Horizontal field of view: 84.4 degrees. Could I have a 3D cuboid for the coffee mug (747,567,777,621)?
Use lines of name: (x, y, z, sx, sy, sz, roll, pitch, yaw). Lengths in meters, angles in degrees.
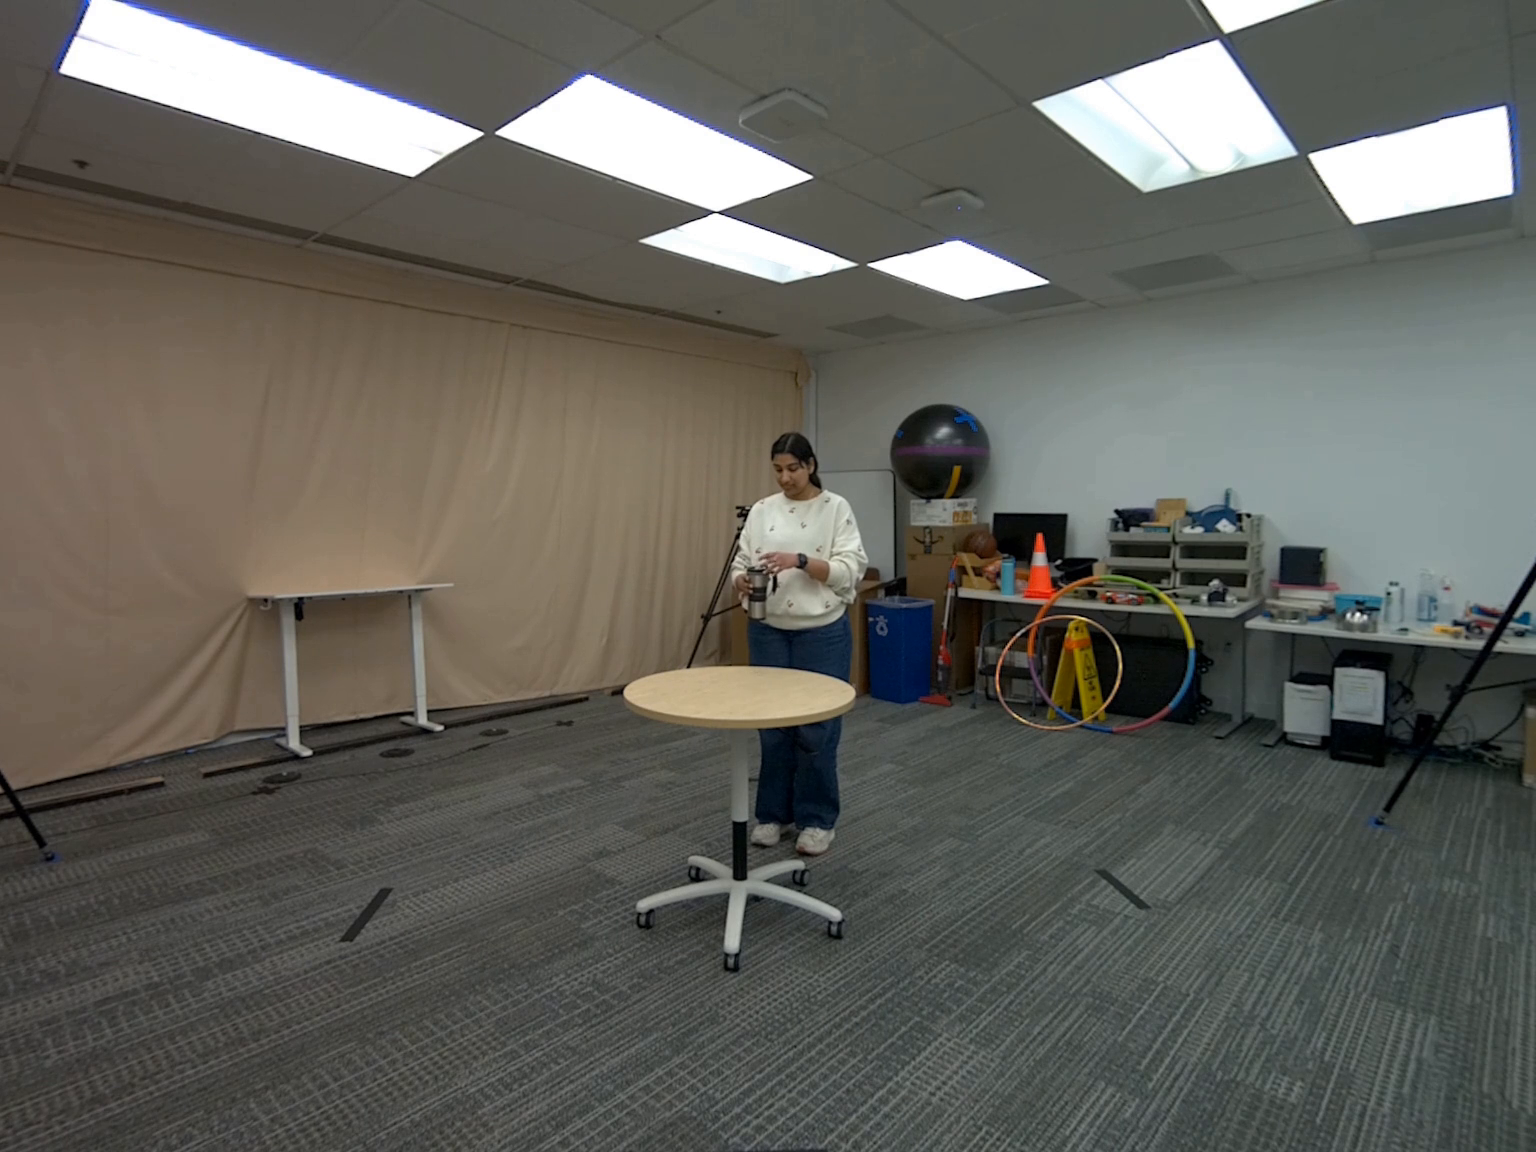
coffee mug: (-0.012, 0.067, 3.220, 0.122, 0.202, 0.088, -1, 8, 1)
